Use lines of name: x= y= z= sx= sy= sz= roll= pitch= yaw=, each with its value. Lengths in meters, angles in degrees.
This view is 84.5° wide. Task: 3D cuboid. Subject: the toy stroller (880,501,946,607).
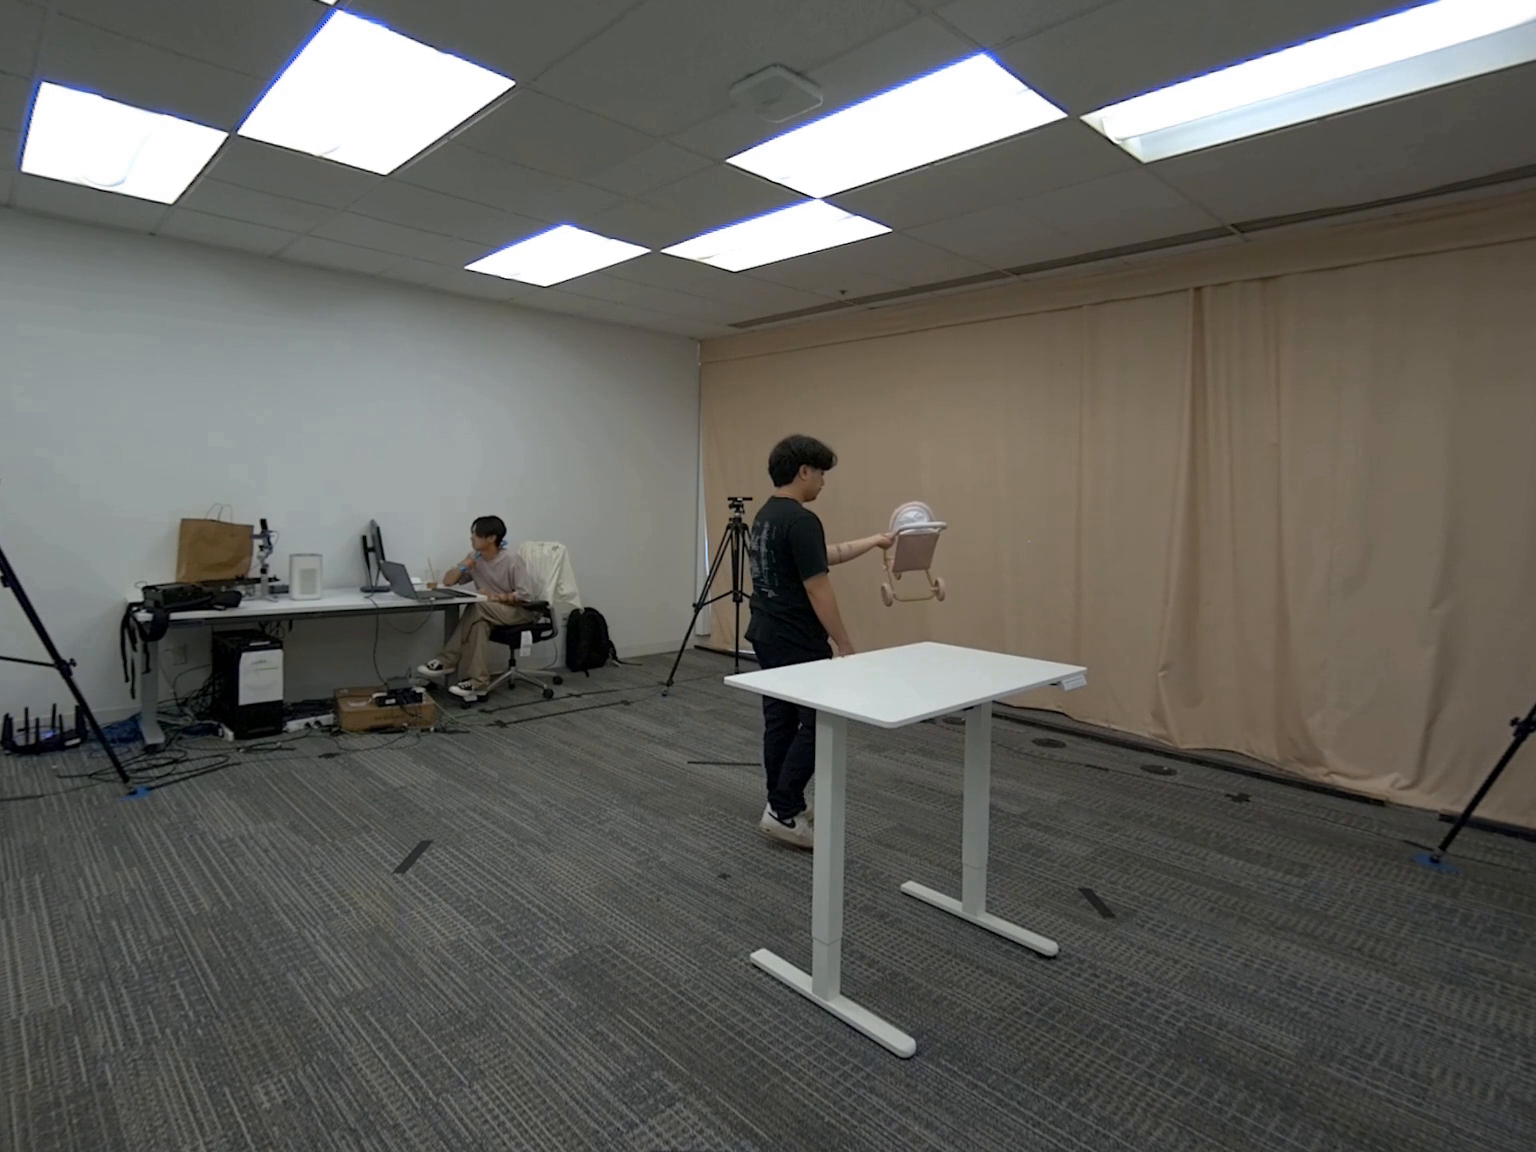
toy stroller: x=0.639 y=-0.114 z=3.821 sx=0.281 sy=0.523 sz=0.349 roll=-3 pitch=38 yaw=-3
